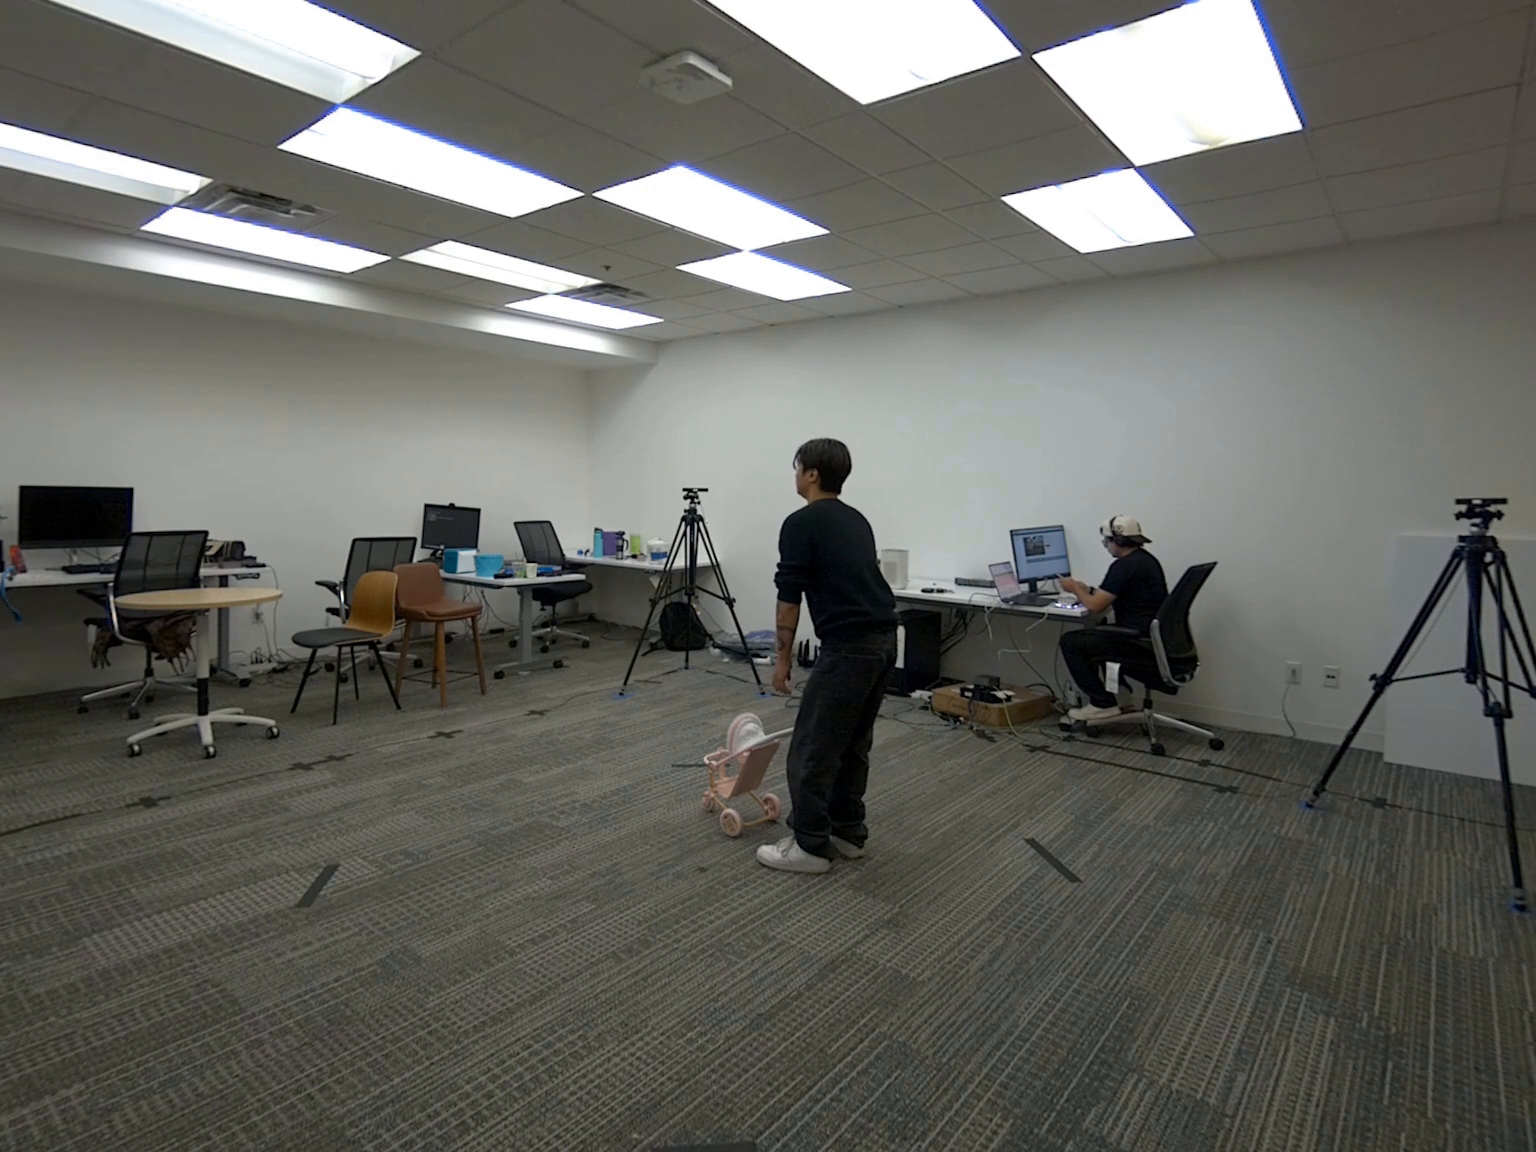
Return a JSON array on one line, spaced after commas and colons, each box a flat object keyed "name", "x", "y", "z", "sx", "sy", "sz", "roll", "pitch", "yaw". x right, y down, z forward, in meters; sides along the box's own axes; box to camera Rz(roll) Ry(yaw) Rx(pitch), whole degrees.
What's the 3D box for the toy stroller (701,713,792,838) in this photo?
[{"name": "toy stroller", "x": -0.121, "y": 0.803, "z": 3.540, "sx": 0.273, "sy": 0.529, "sz": 0.355, "roll": -2, "pitch": 20, "yaw": -44}]
